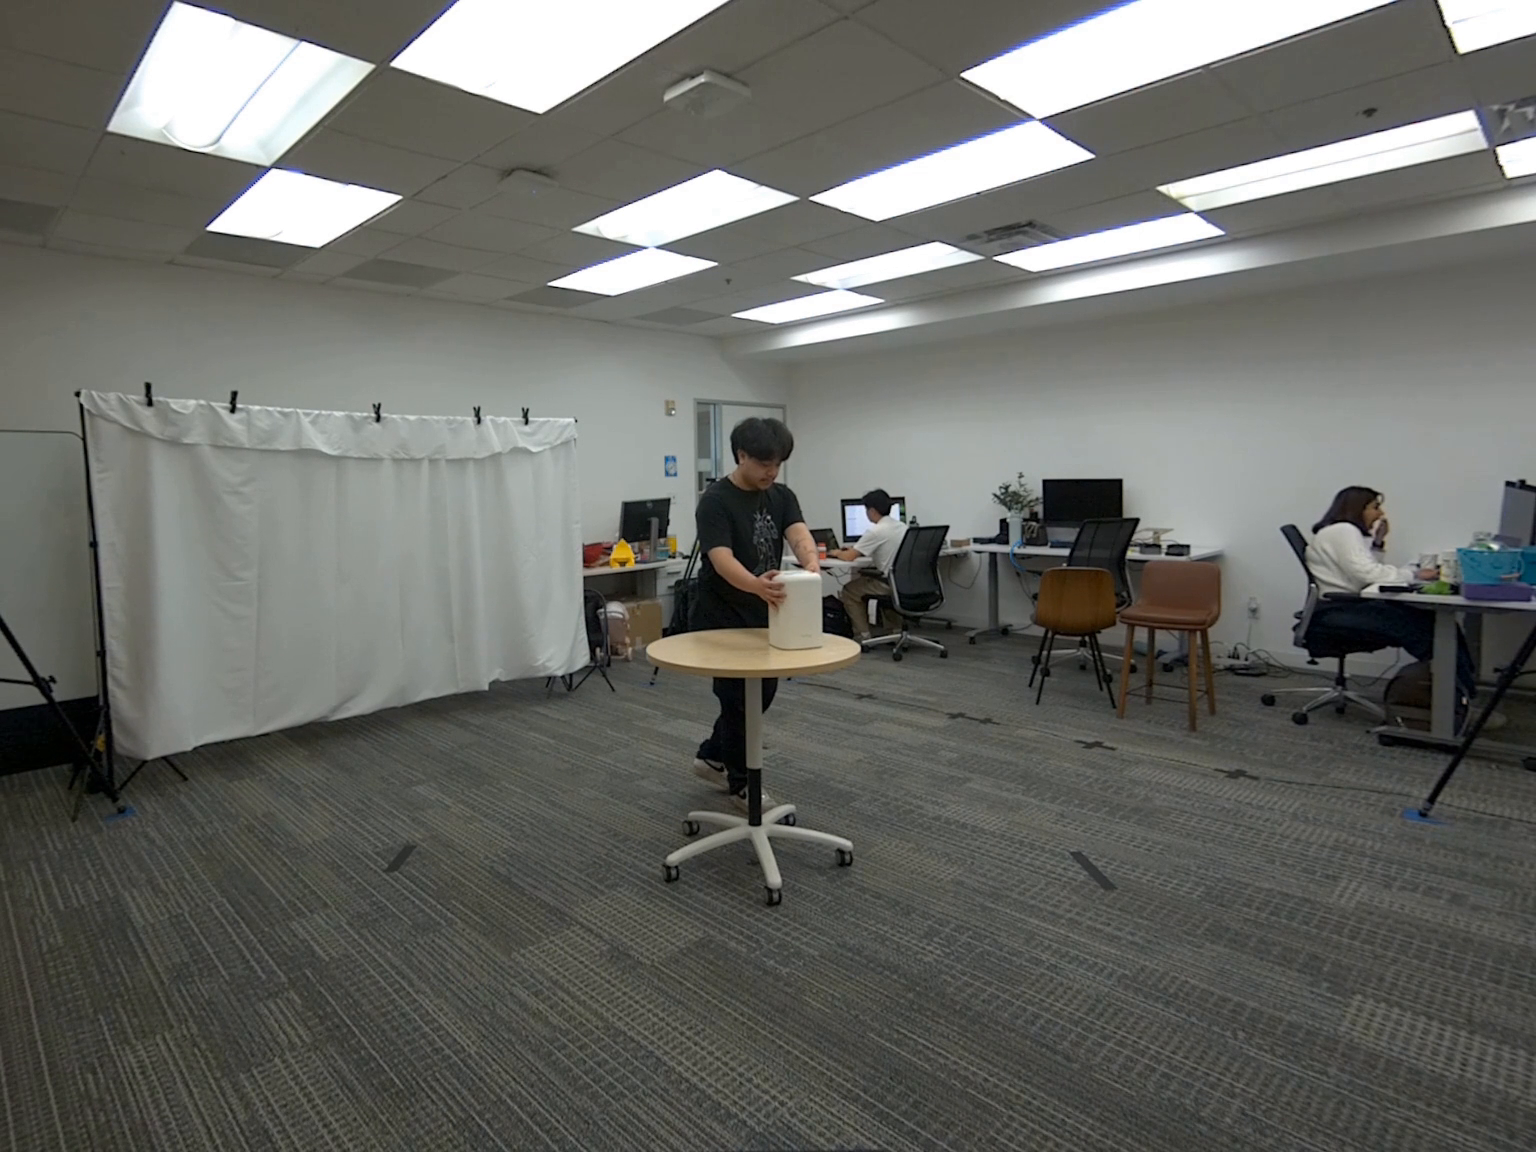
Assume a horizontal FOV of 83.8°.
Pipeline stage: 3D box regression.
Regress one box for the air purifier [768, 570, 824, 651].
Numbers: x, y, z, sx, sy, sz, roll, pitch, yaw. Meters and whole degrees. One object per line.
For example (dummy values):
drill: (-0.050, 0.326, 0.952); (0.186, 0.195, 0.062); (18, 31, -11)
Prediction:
air purifier: (0.102, 0.122, 3.063); (0.168, 0.264, 0.175); (-3, 5, -22)
